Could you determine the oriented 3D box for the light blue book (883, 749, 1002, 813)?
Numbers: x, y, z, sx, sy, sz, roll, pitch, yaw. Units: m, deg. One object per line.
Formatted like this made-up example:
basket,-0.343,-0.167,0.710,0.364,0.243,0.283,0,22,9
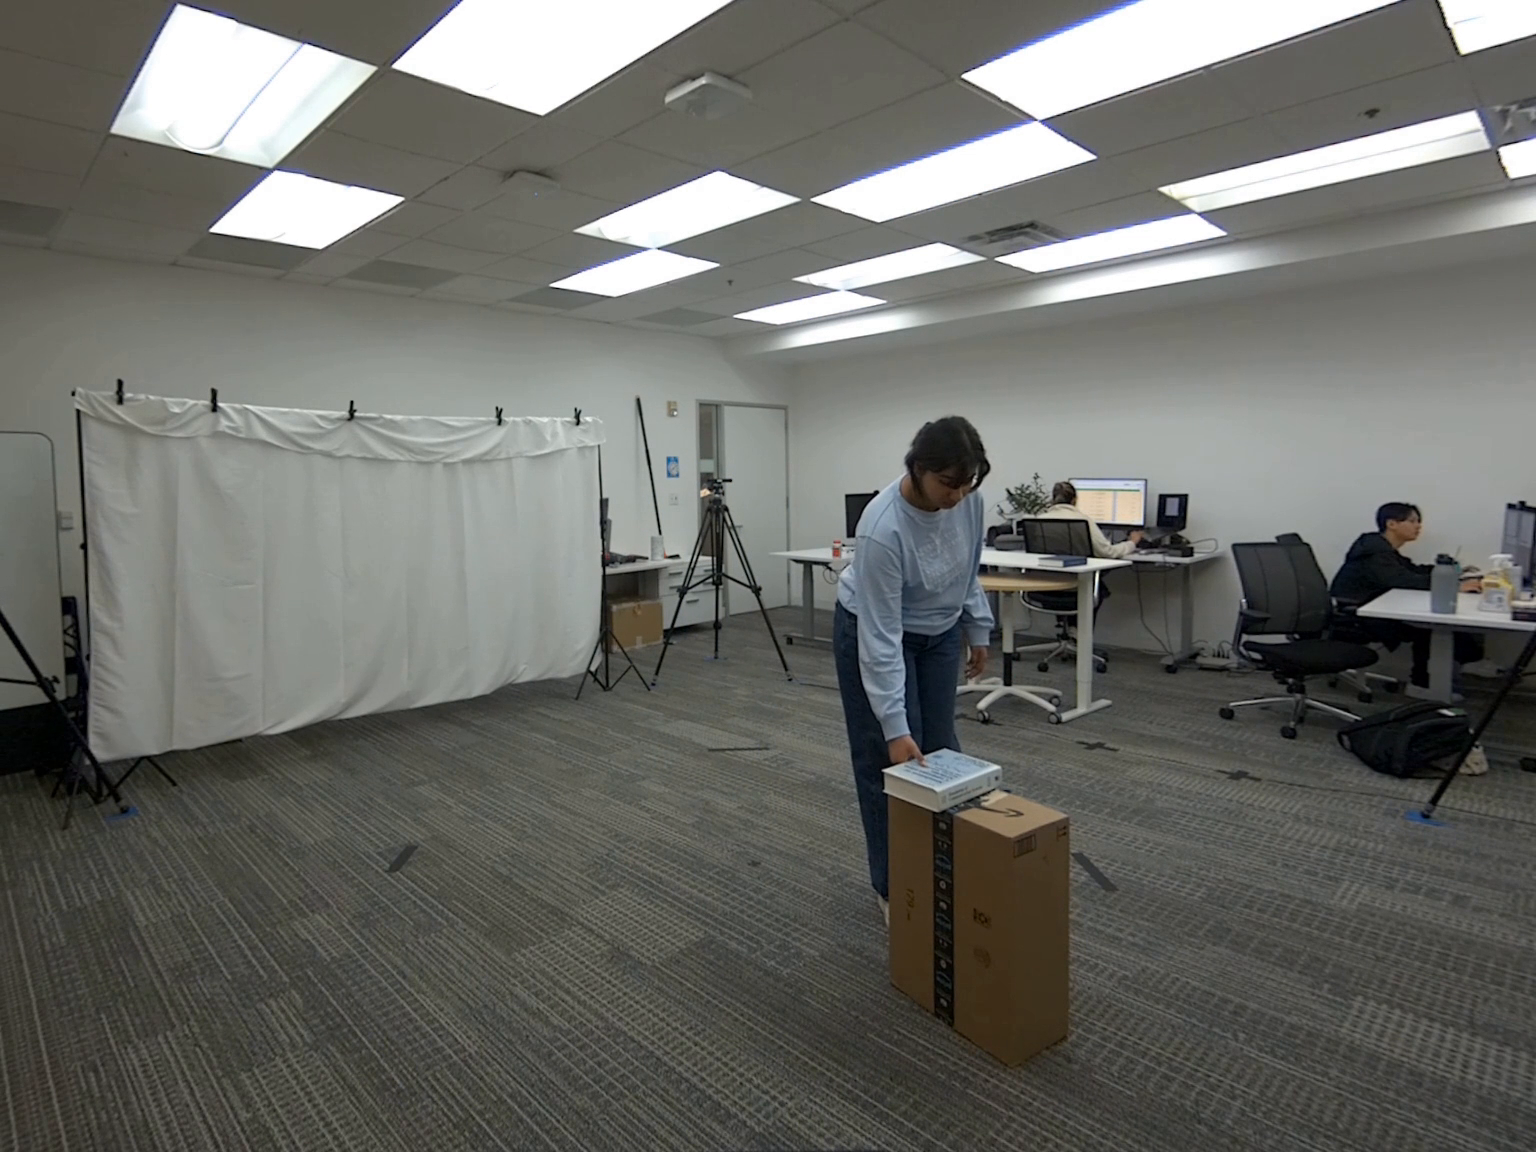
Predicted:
light blue book,0.455,0.537,2.272,0.254,0.059,0.197,-8,9,-38
